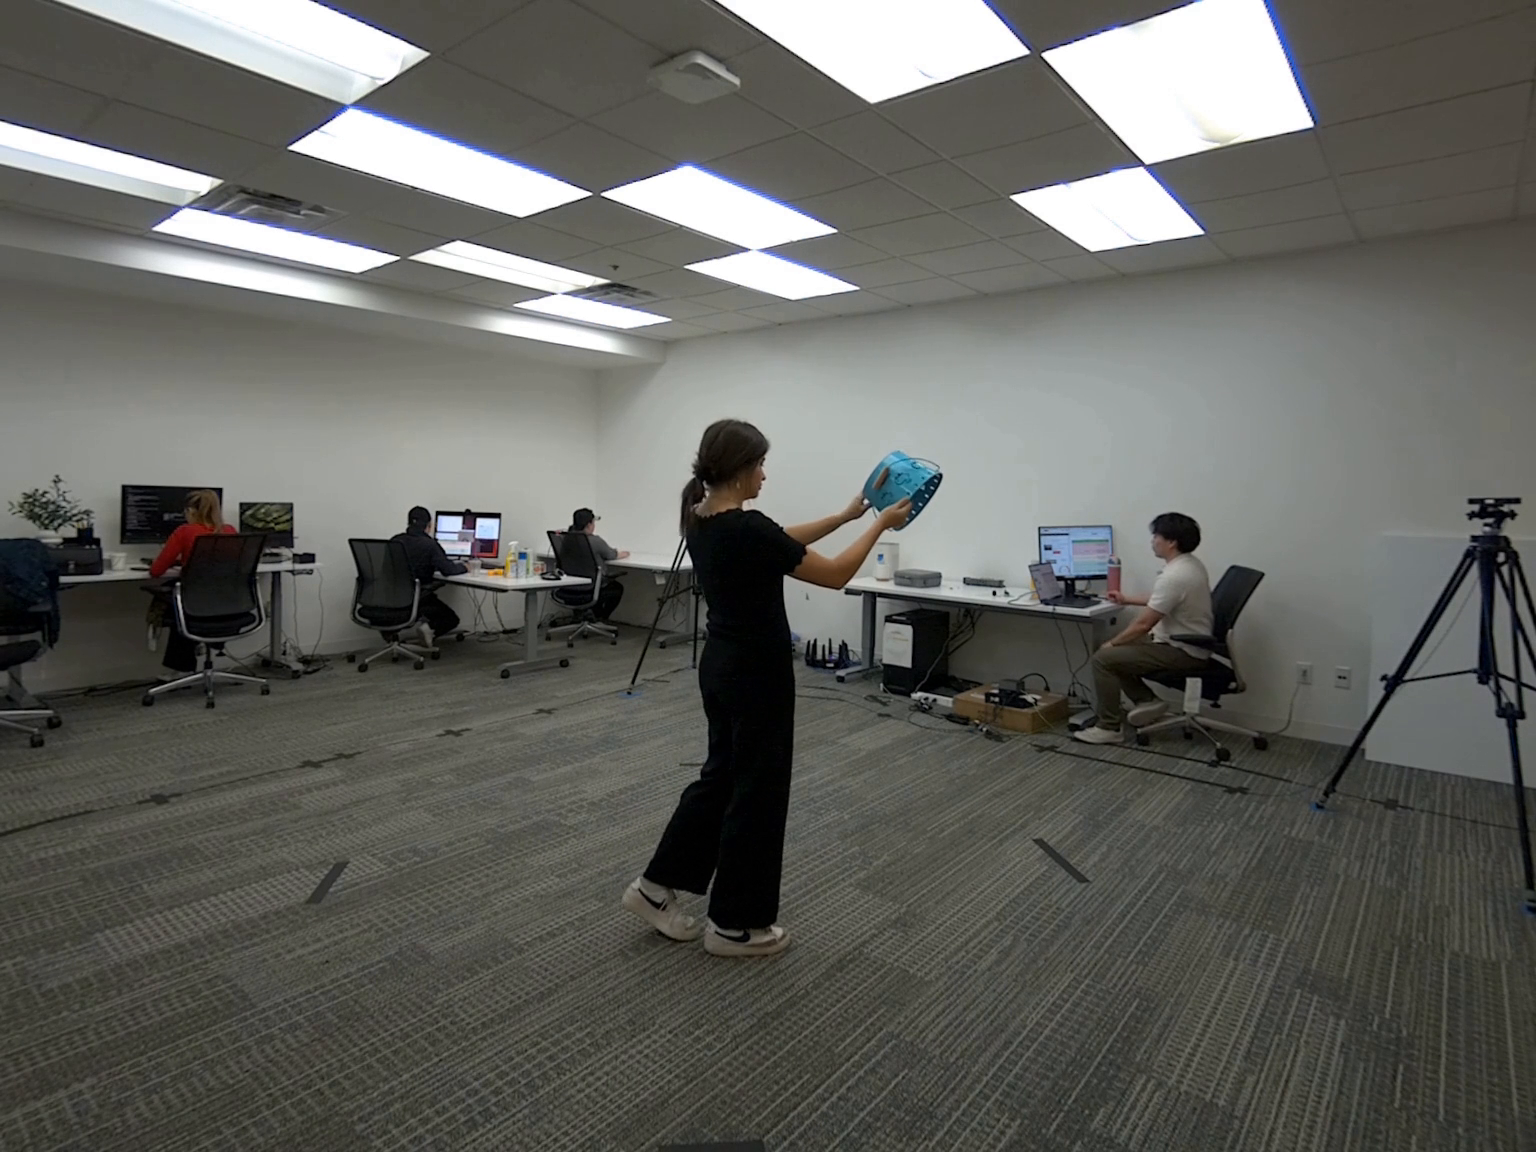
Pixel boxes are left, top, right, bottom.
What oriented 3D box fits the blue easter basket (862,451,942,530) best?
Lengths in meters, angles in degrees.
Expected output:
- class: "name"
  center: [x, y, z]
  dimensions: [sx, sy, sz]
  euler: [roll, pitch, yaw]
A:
- class: "blue easter basket"
  center: [0.400, -0.277, 2.668]
  dimensions: [0.160, 0.243, 0.238]
  euler: [40, 19, 17]
